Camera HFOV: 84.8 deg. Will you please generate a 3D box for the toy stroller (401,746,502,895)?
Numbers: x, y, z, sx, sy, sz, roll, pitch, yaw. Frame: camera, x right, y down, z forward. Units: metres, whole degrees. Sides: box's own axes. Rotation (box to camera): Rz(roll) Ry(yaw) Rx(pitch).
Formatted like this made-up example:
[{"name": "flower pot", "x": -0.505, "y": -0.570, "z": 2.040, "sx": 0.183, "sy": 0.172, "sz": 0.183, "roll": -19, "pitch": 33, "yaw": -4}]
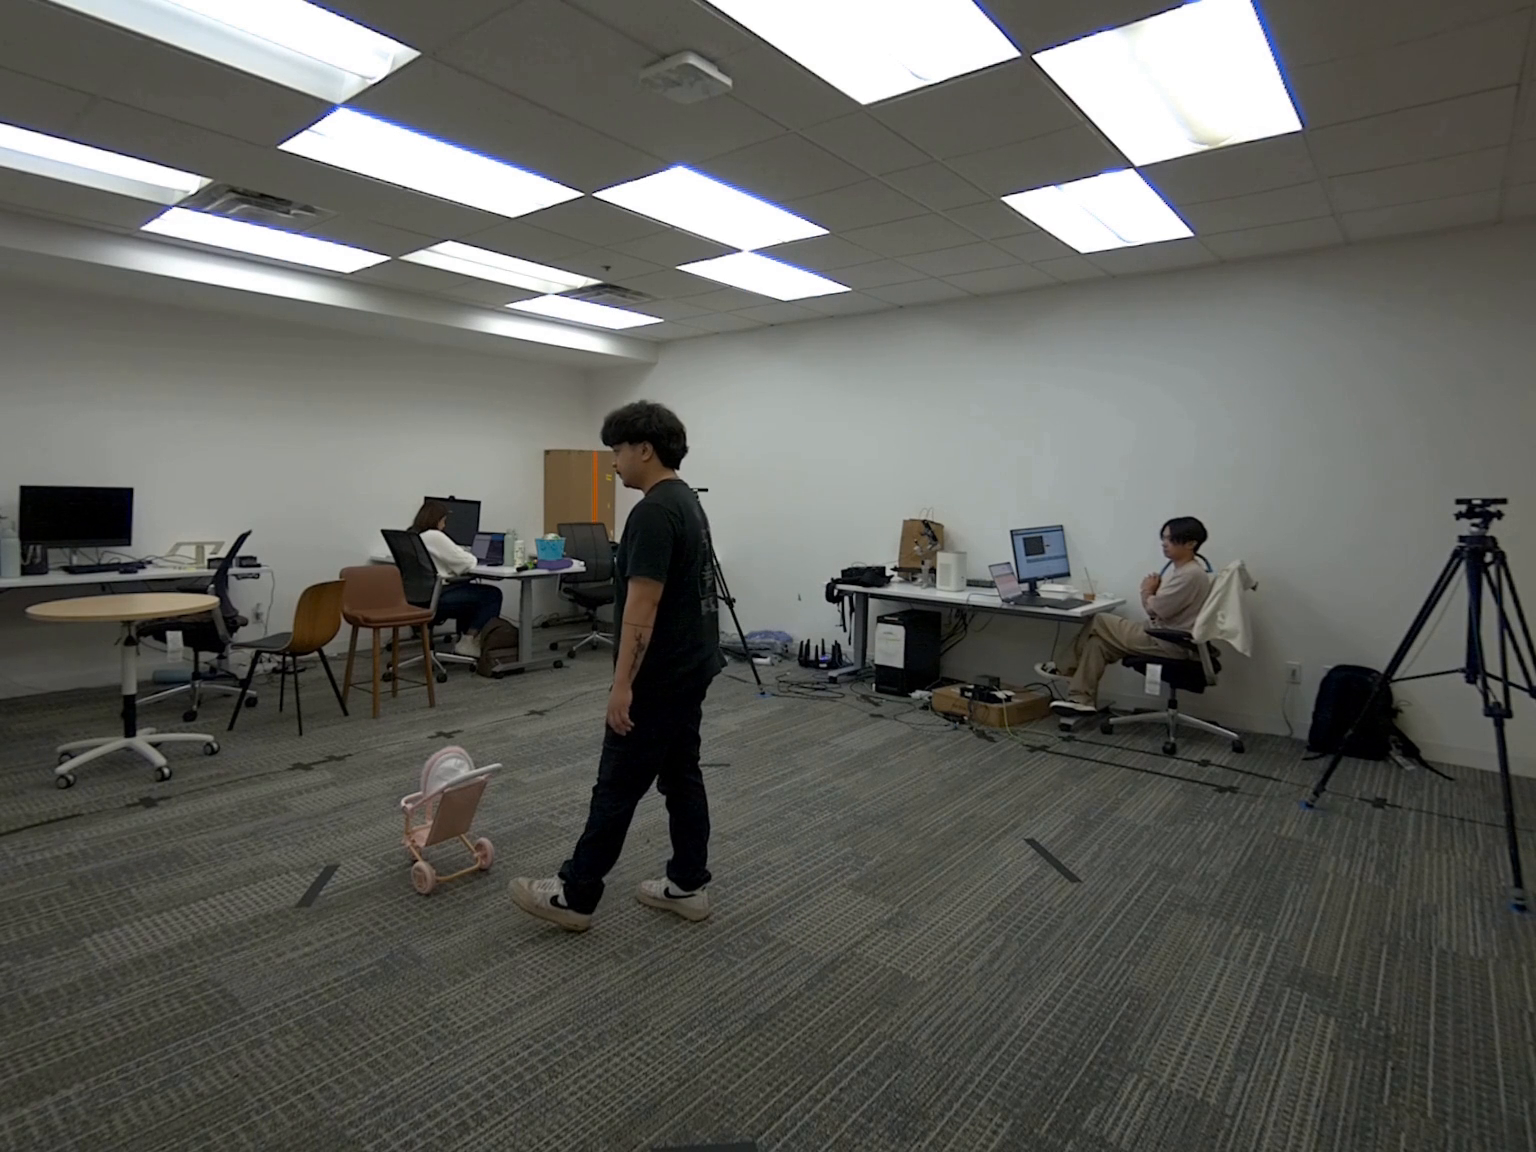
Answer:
[{"name": "toy stroller", "x": -1.161, "y": 0.839, "z": 3.016, "sx": 0.355, "sy": 0.530, "sz": 0.273, "roll": 25, "pitch": 18, "yaw": 38}]
